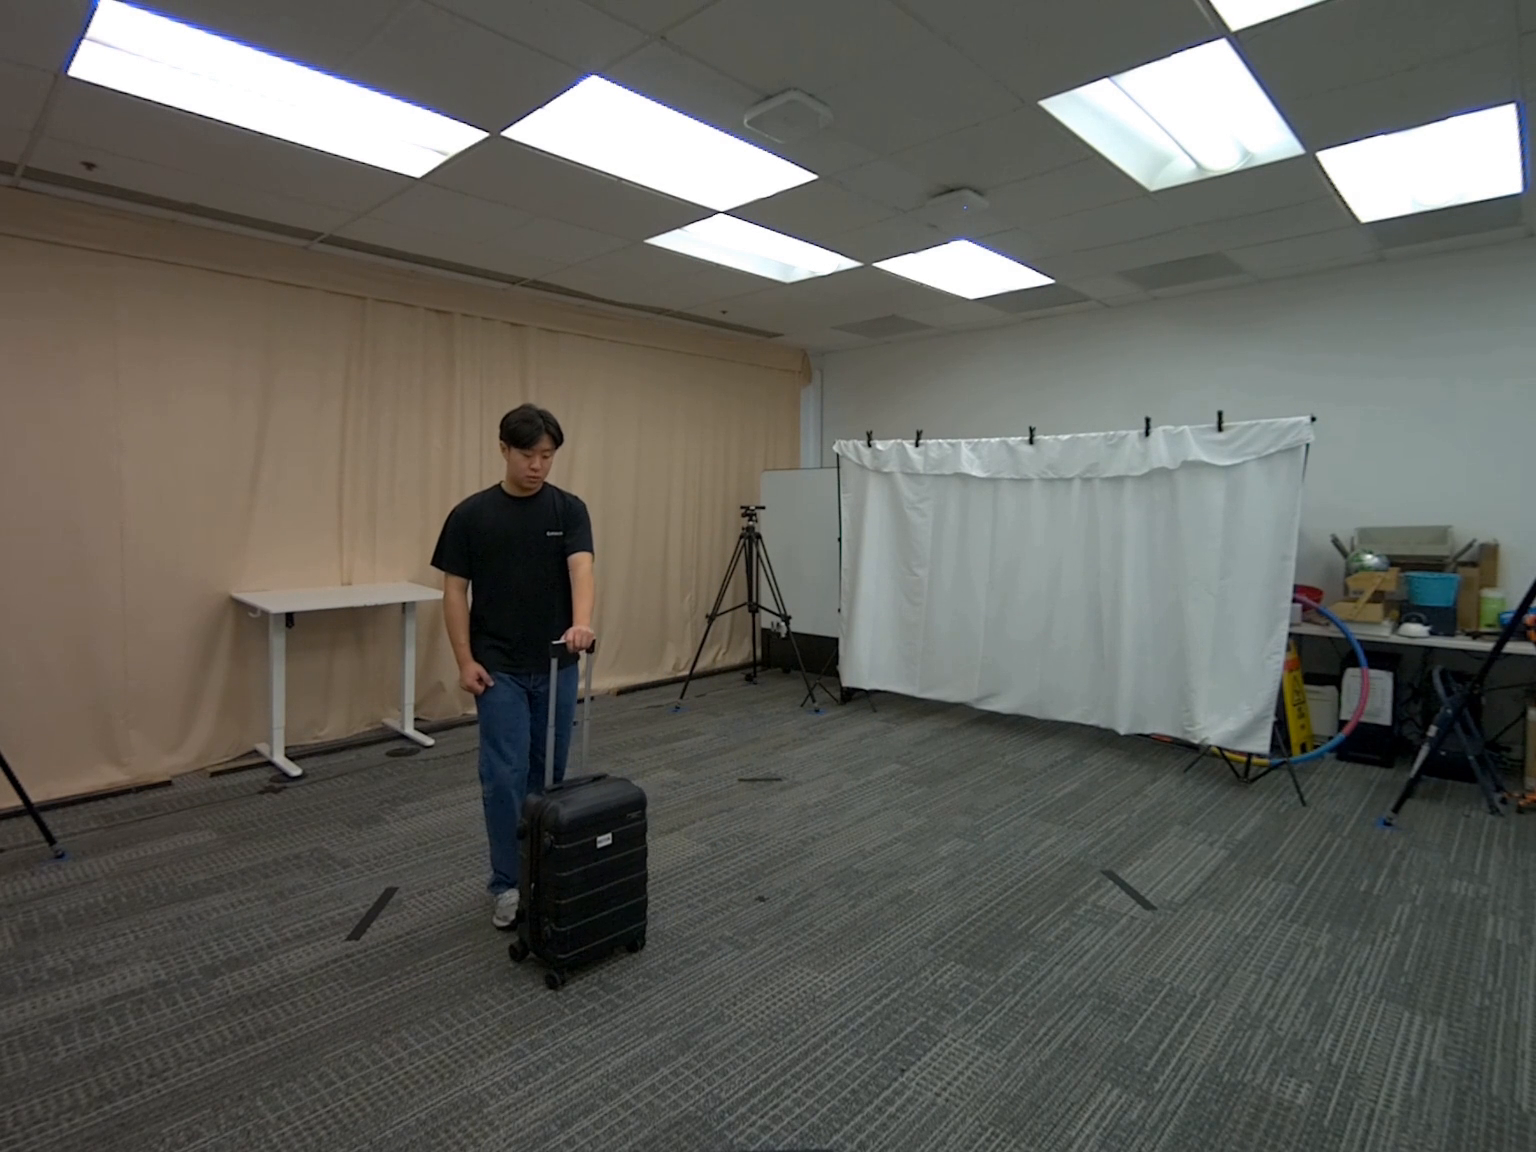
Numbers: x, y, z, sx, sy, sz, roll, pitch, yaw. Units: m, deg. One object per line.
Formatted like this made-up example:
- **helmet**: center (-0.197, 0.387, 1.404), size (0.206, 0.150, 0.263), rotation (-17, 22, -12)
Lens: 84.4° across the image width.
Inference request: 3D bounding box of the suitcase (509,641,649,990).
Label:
- **suitcase**: center (-0.552, 0.707, 2.568), size (0.266, 0.975, 0.372), rotation (9, 8, 44)
